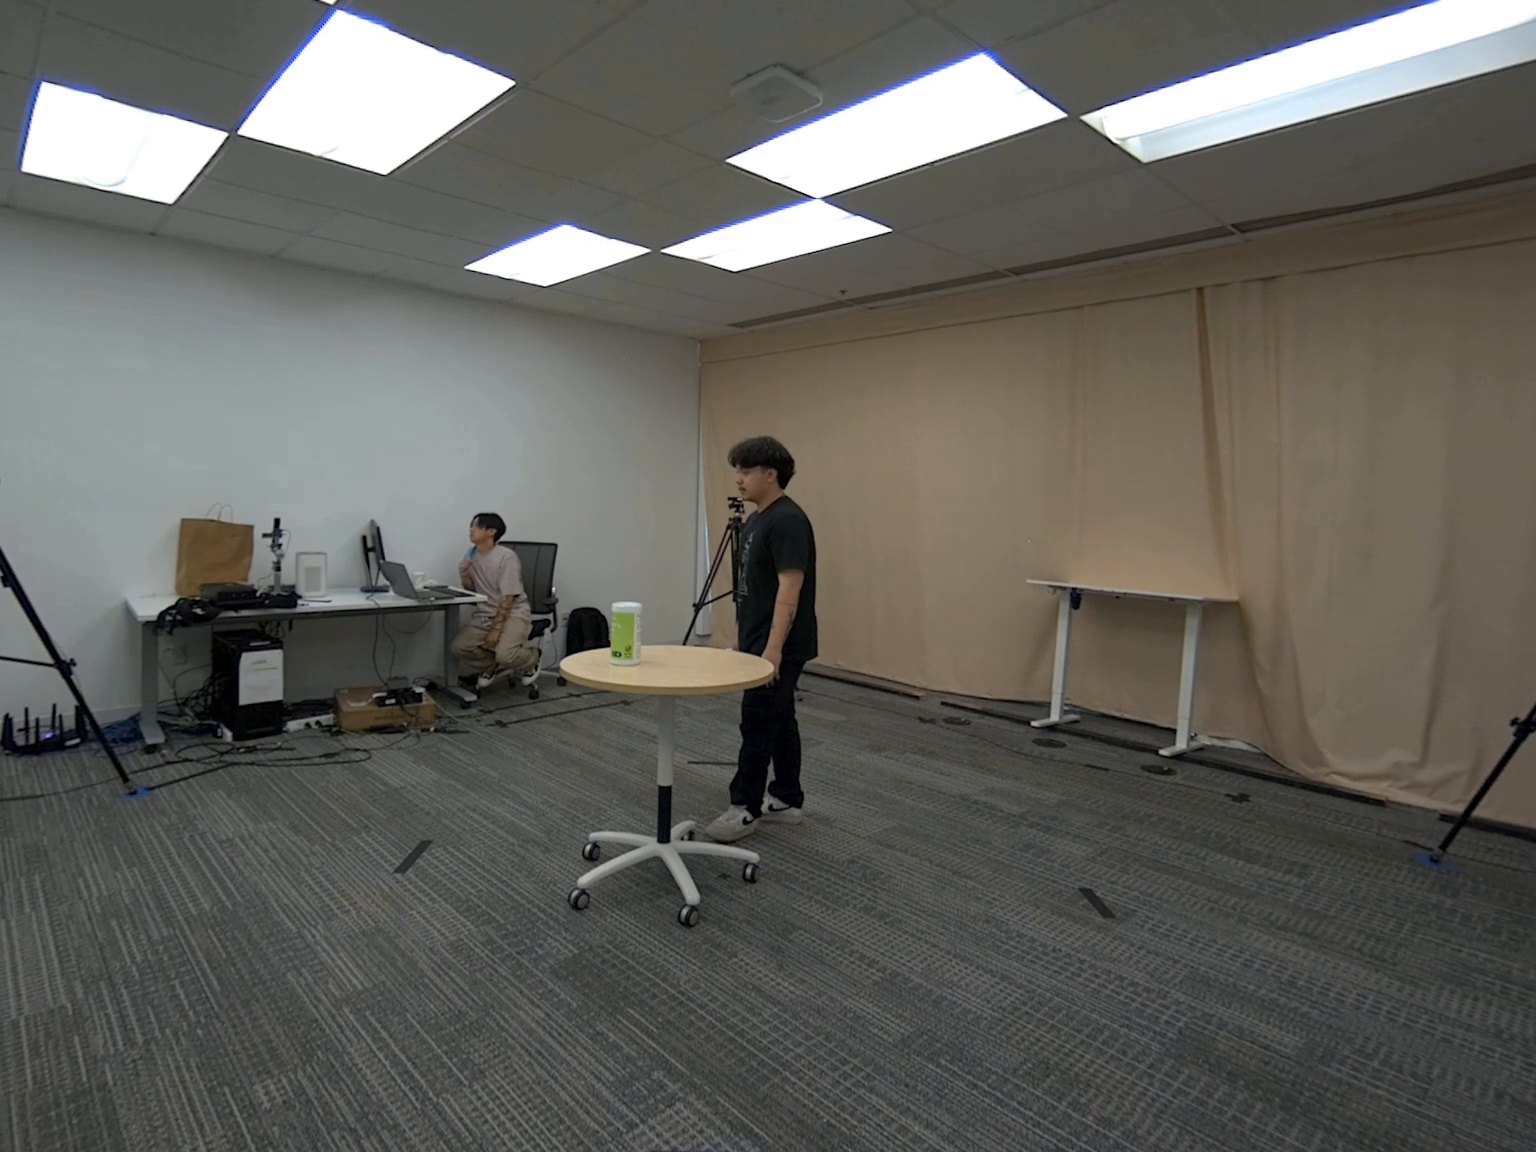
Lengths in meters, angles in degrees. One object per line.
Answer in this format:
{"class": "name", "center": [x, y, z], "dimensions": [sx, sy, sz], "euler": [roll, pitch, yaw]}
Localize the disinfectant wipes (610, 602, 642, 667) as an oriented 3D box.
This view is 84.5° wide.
{"class": "disinfectant wipes", "center": [-0.510, 0.206, 3.006], "dimensions": [0.118, 0.217, 0.118], "euler": [2, 3, -1]}
